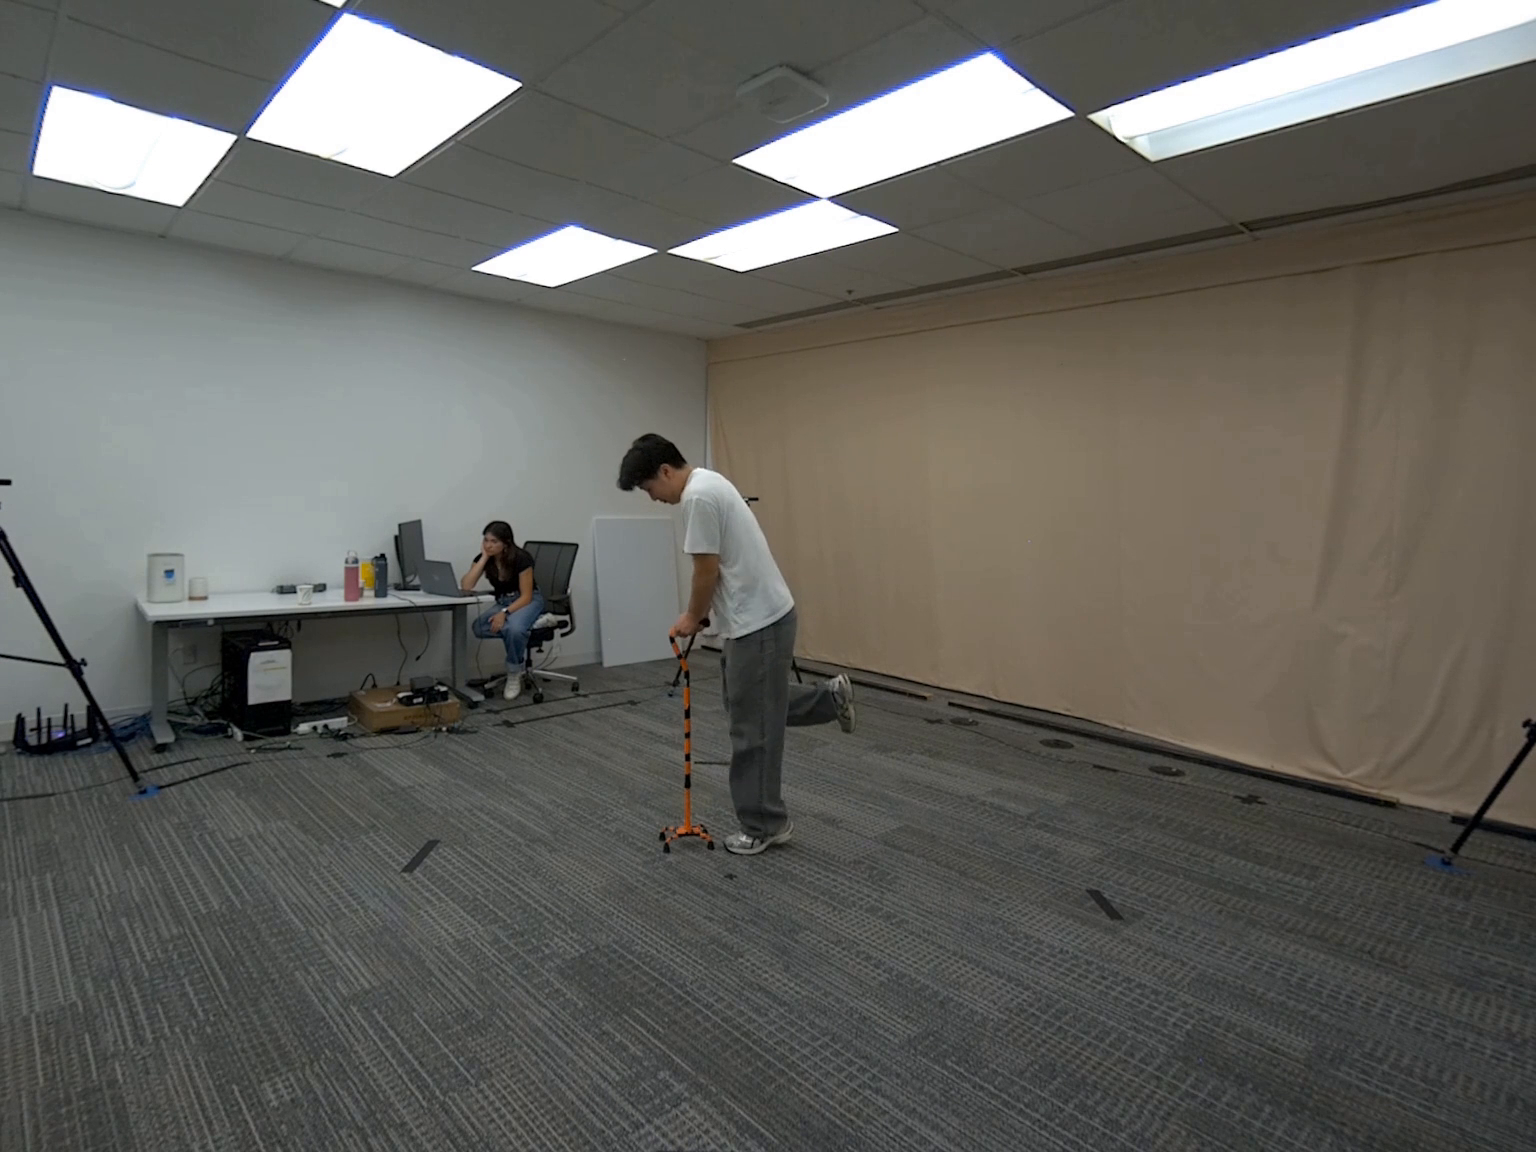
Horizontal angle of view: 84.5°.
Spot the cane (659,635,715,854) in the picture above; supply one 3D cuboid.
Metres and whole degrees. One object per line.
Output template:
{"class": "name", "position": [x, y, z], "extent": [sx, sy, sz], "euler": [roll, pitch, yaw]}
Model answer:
{"class": "cane", "position": [-0.324, 0.628, 3.369], "extent": [0.204, 0.906, 0.154], "euler": [1, 2, -16]}
